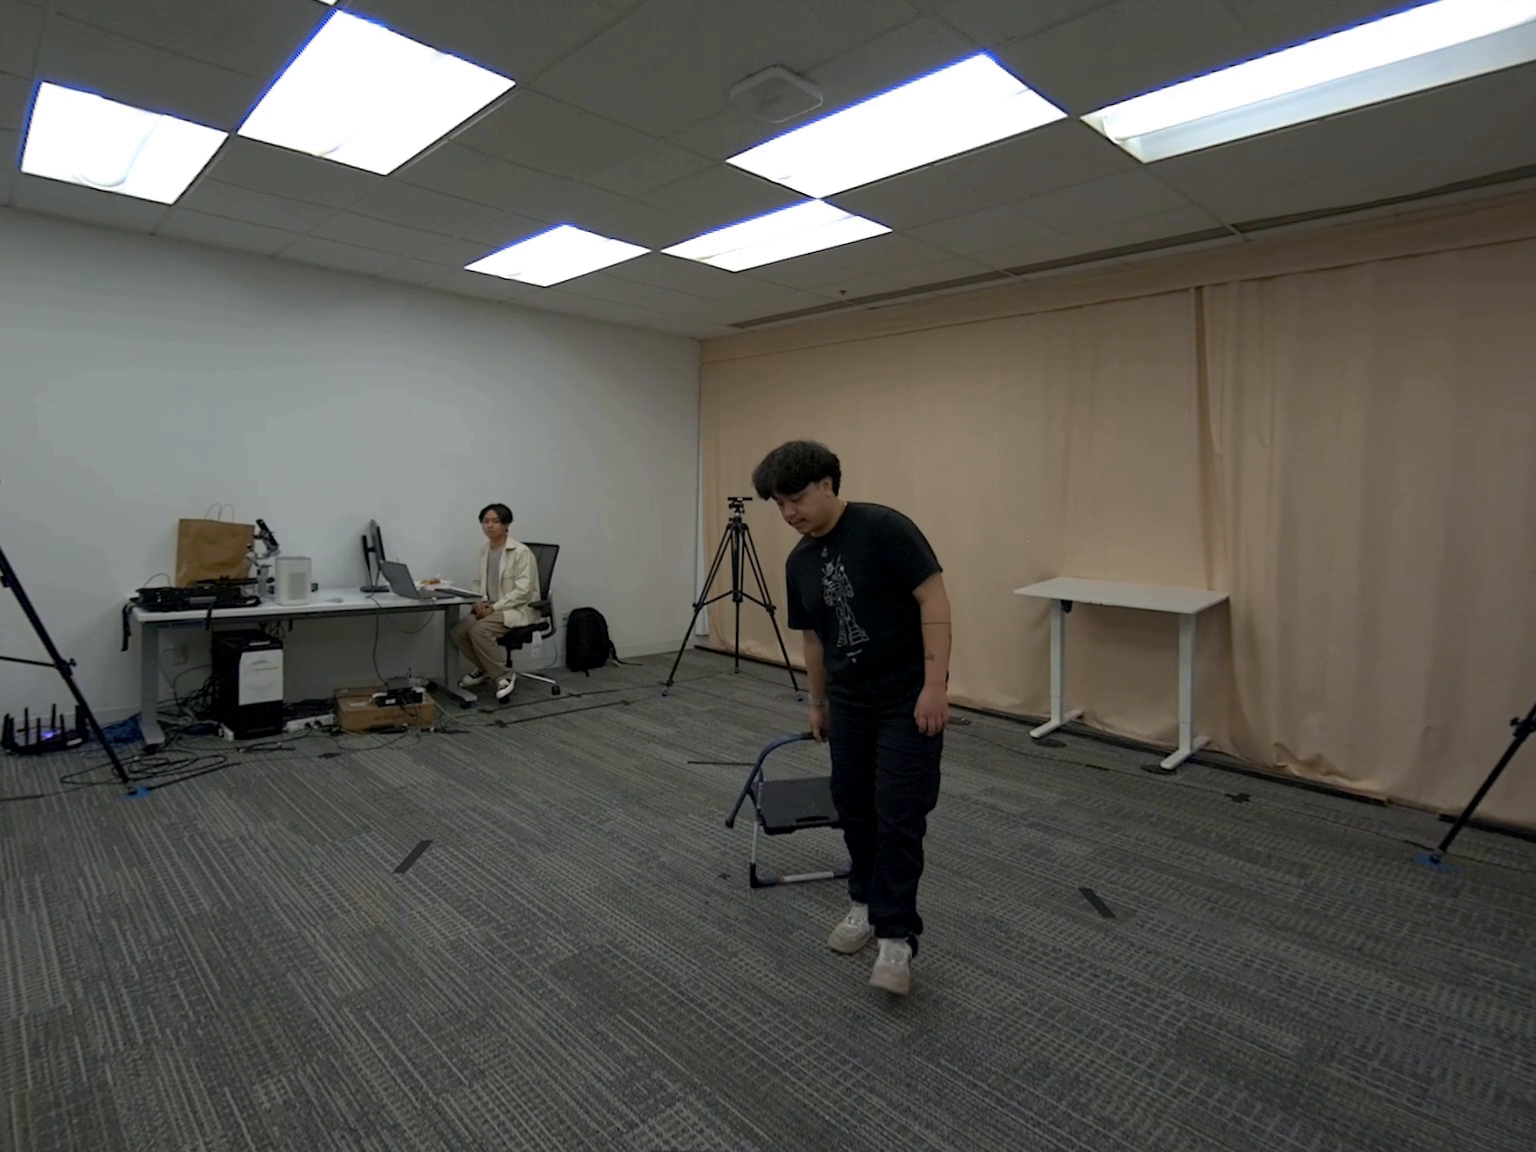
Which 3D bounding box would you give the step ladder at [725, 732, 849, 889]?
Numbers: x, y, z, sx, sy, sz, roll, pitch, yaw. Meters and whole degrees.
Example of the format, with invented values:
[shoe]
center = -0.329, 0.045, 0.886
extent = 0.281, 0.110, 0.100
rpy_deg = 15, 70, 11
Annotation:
[step ladder]
center = 0.119, 0.777, 3.082
extent = 0.424, 0.597, 0.359
rpy_deg = 0, 27, -19
